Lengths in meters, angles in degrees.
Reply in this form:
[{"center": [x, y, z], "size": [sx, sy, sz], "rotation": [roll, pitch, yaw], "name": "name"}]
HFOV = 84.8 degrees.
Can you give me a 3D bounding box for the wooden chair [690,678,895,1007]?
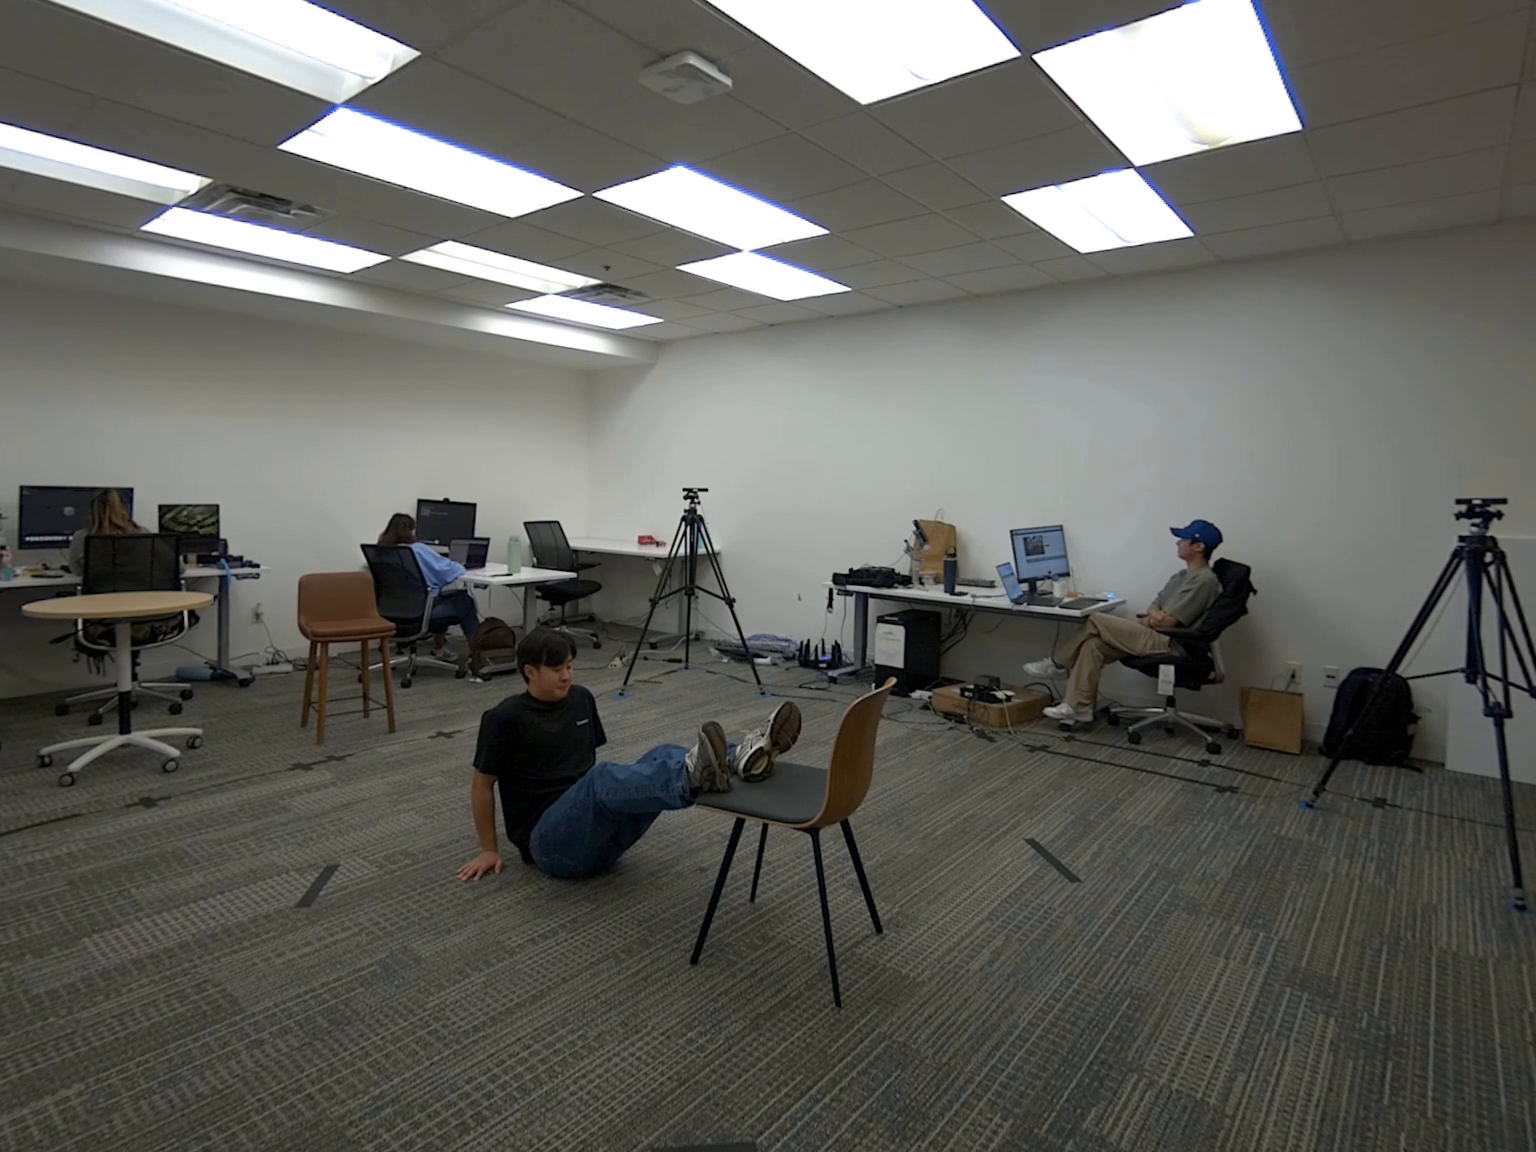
[{"center": [0.067, 0.700, 2.564], "size": [0.537, 0.874, 0.467], "rotation": [7, 6, 24], "name": "wooden chair"}]
